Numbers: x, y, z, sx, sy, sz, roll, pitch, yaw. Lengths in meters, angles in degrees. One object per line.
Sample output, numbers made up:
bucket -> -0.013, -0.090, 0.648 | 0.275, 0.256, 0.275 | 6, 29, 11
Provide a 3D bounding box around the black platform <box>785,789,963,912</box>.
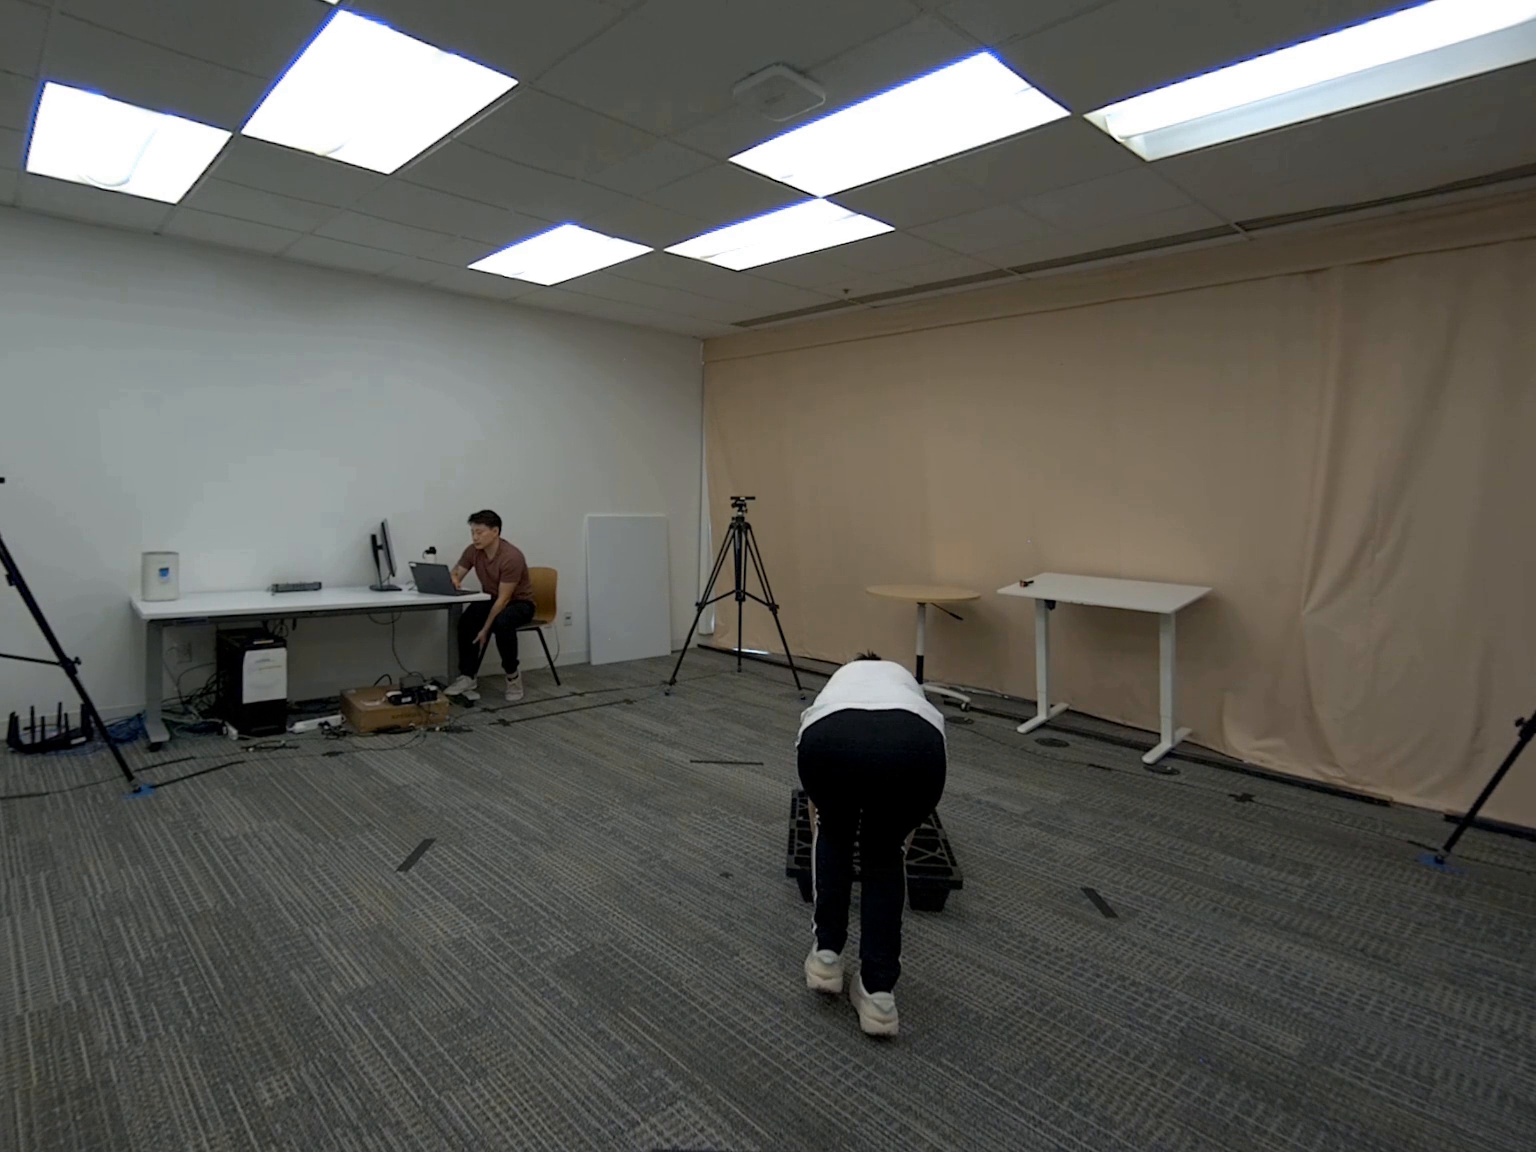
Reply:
black platform -> 0.375, 1.038, 3.247 | 0.608, 0.143, 0.804 | 3, 5, 4
